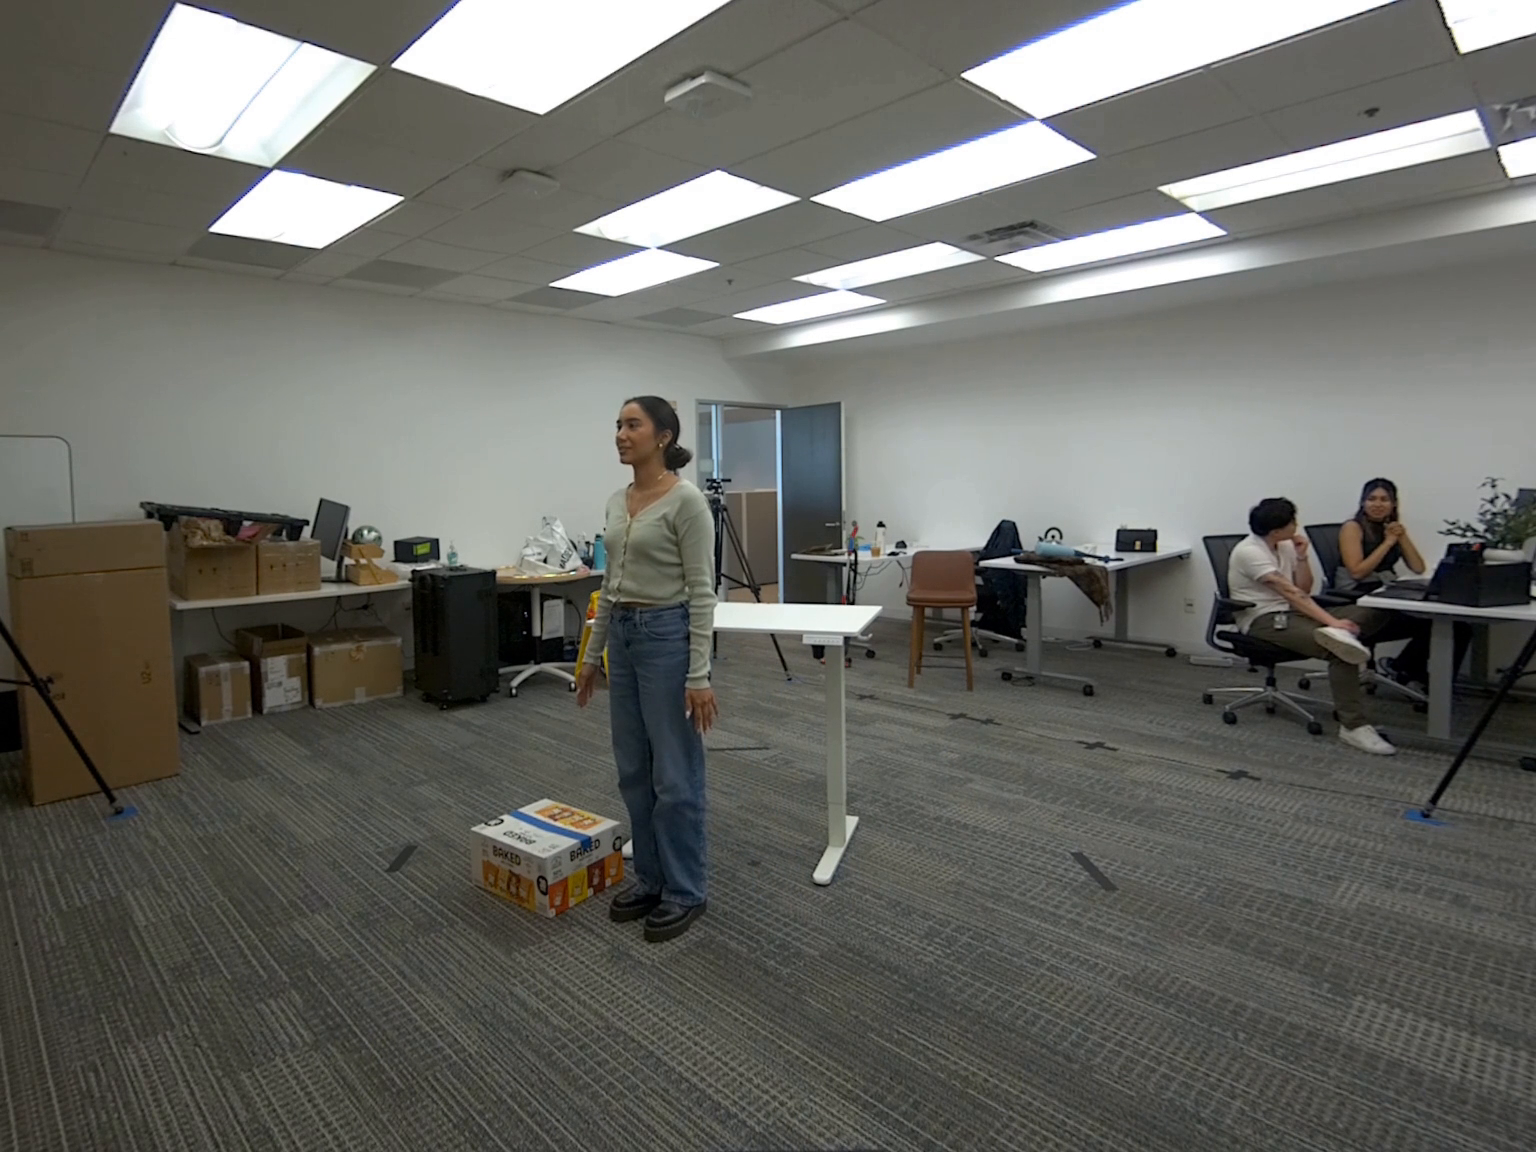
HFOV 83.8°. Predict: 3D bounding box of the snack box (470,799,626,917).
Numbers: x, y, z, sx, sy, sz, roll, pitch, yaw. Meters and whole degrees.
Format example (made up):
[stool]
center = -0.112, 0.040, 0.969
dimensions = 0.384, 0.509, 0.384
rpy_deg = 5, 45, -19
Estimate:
[snack box]
center = -0.771, 0.973, 2.982
dimensions = 0.417, 0.205, 0.332
rpy_deg = 3, 7, 37
